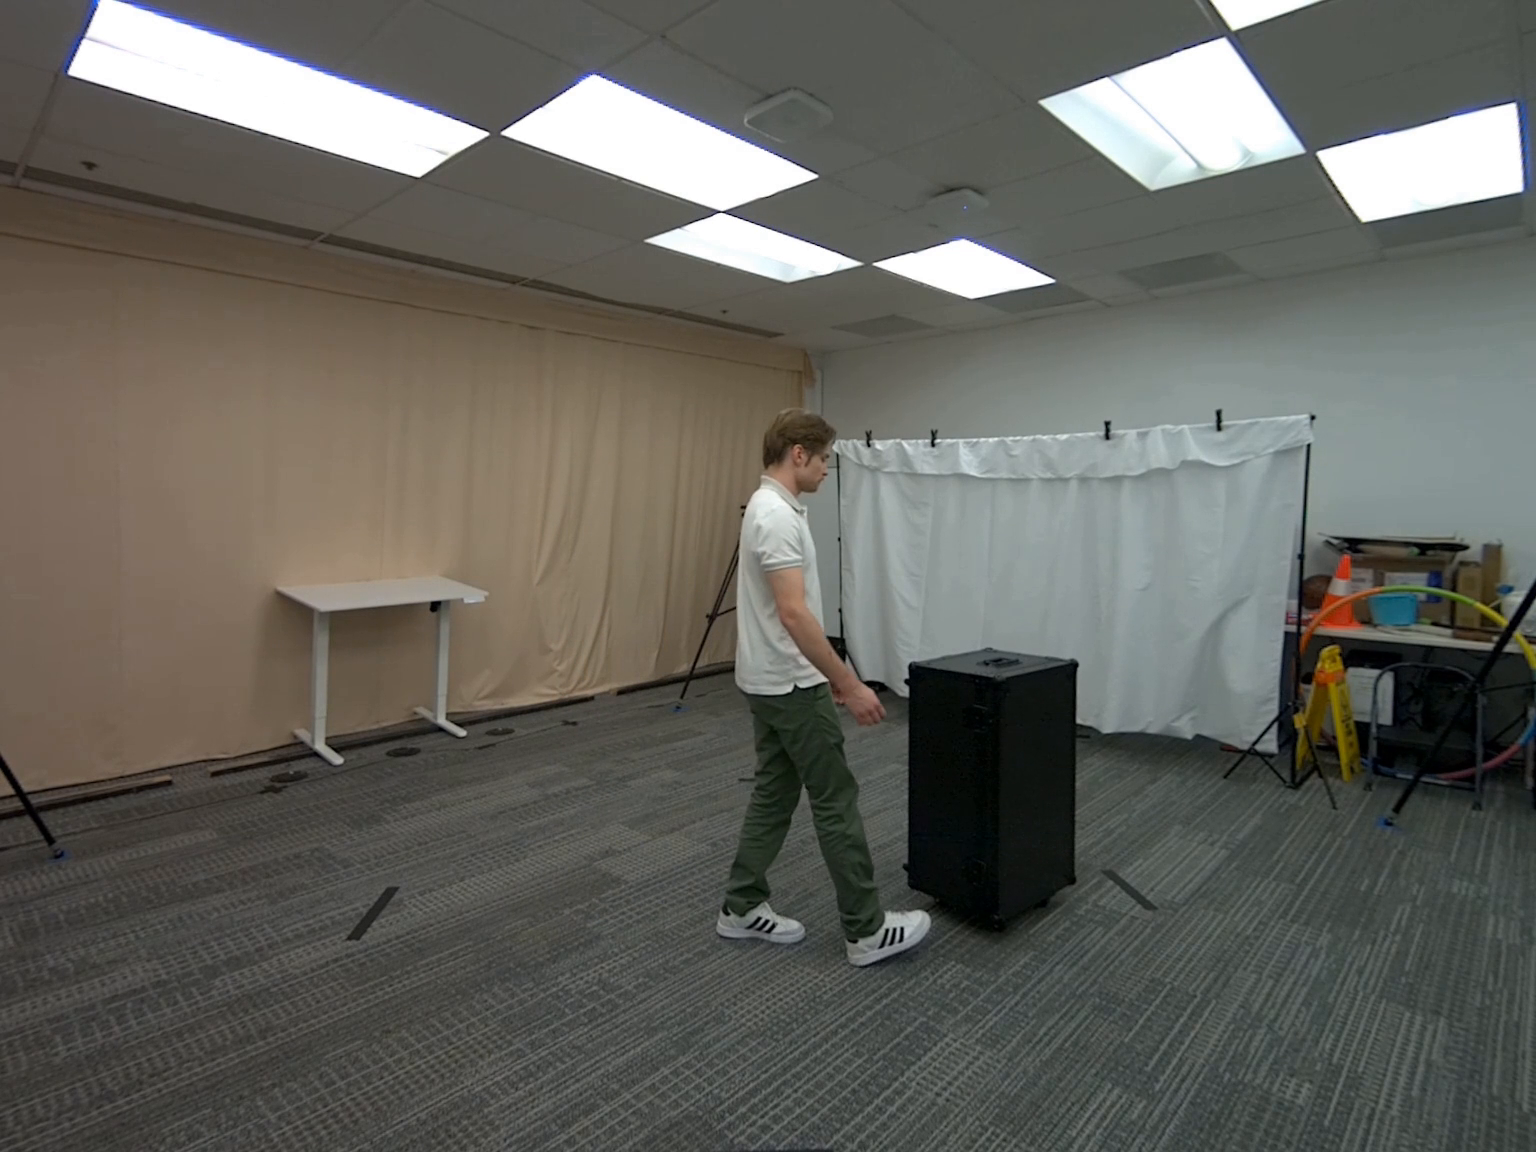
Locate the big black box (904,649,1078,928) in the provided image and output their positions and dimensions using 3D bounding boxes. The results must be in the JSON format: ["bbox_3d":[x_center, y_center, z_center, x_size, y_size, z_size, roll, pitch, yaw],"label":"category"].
[{"bbox_3d":[0.776,0.728,2.915,0.507,0.867,0.398,-3,3,-41],"label":"big black box"}]
